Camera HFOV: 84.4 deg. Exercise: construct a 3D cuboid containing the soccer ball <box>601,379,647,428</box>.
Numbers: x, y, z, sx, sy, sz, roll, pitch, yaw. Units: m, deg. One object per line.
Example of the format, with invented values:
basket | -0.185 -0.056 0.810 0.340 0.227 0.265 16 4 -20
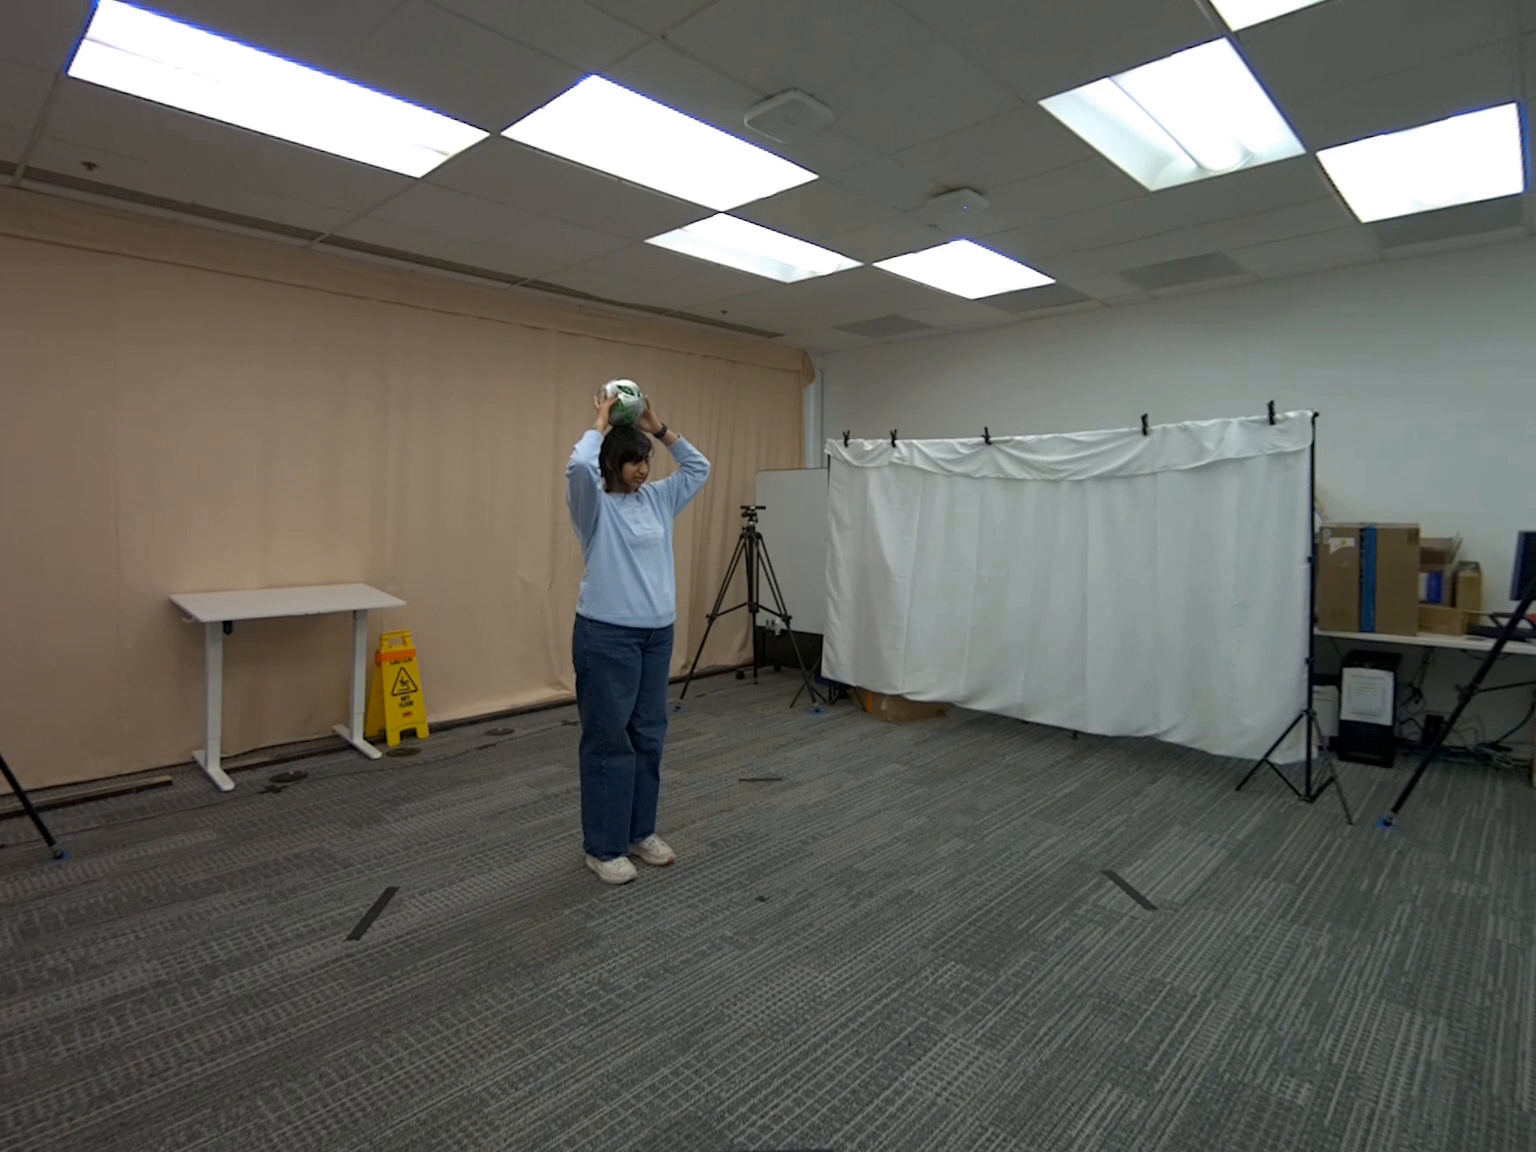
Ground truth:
soccer ball | -0.562 -0.657 3.208 0.187 0.187 0.188 0 4 -2
